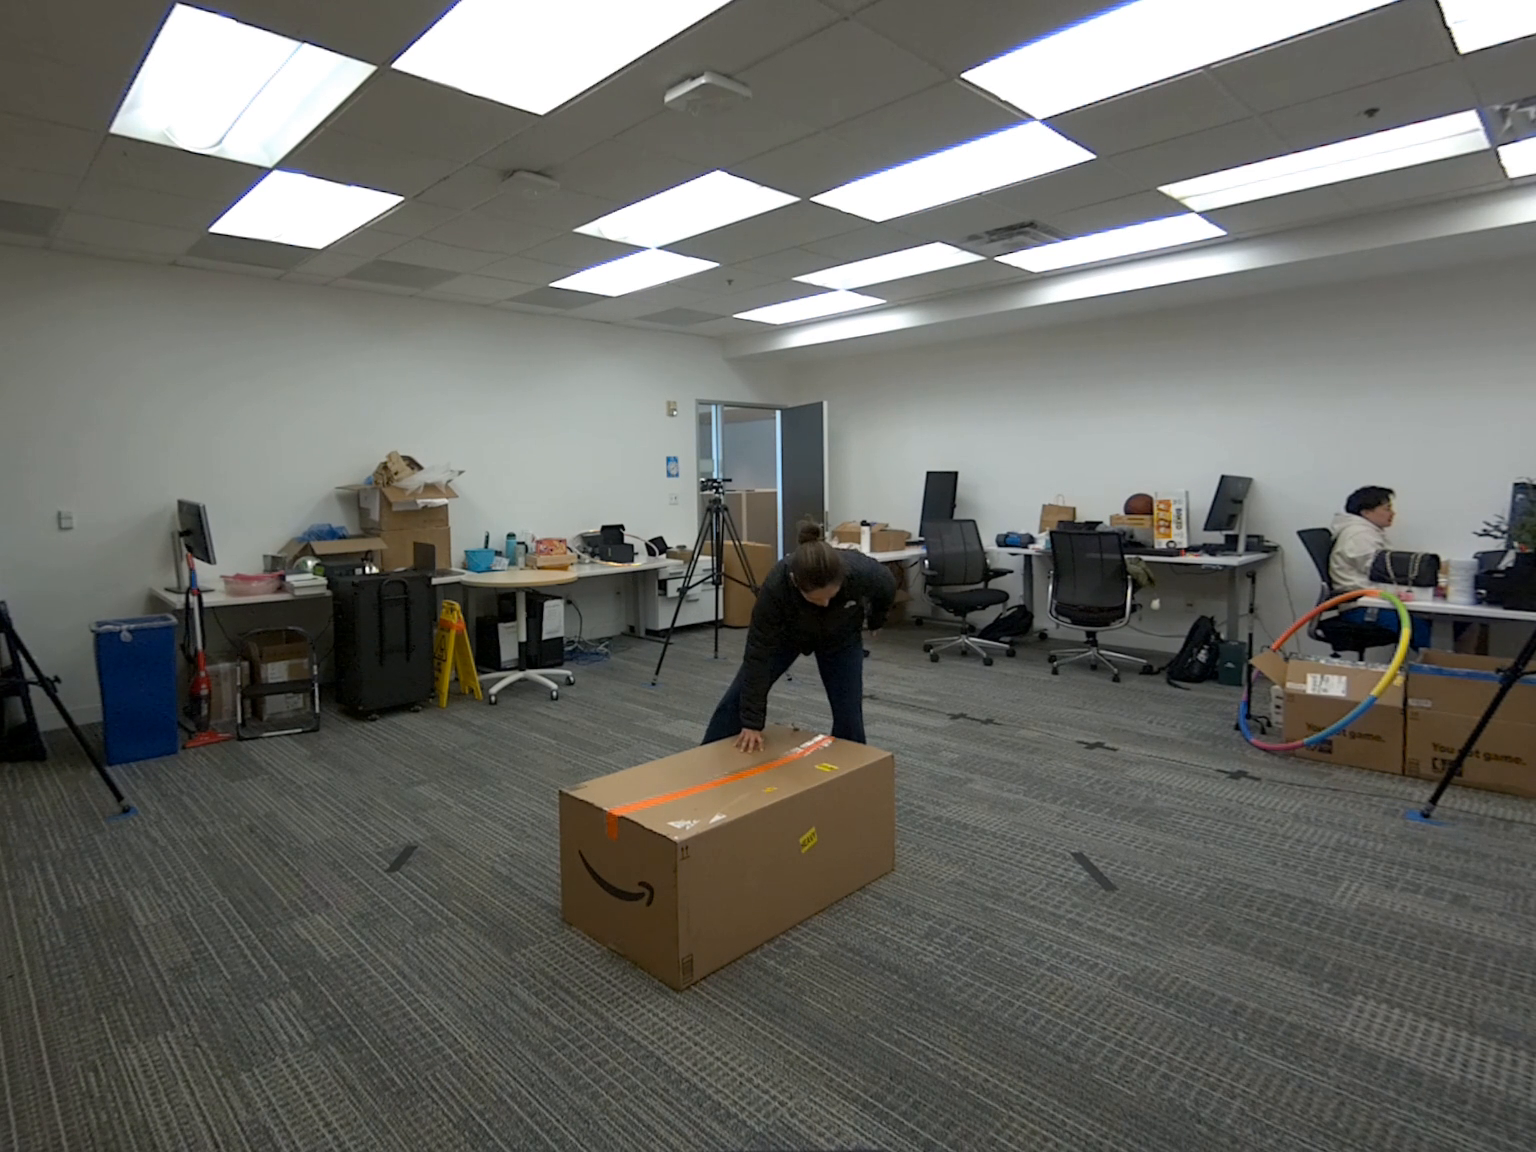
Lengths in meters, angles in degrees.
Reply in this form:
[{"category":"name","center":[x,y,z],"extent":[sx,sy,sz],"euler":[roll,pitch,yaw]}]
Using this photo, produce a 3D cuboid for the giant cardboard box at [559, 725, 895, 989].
[{"category":"giant cardboard box","center":[-0.107,0.864,2.884],"extent":[0.601,0.445,1.001],"euler":[2,7,44]}]
